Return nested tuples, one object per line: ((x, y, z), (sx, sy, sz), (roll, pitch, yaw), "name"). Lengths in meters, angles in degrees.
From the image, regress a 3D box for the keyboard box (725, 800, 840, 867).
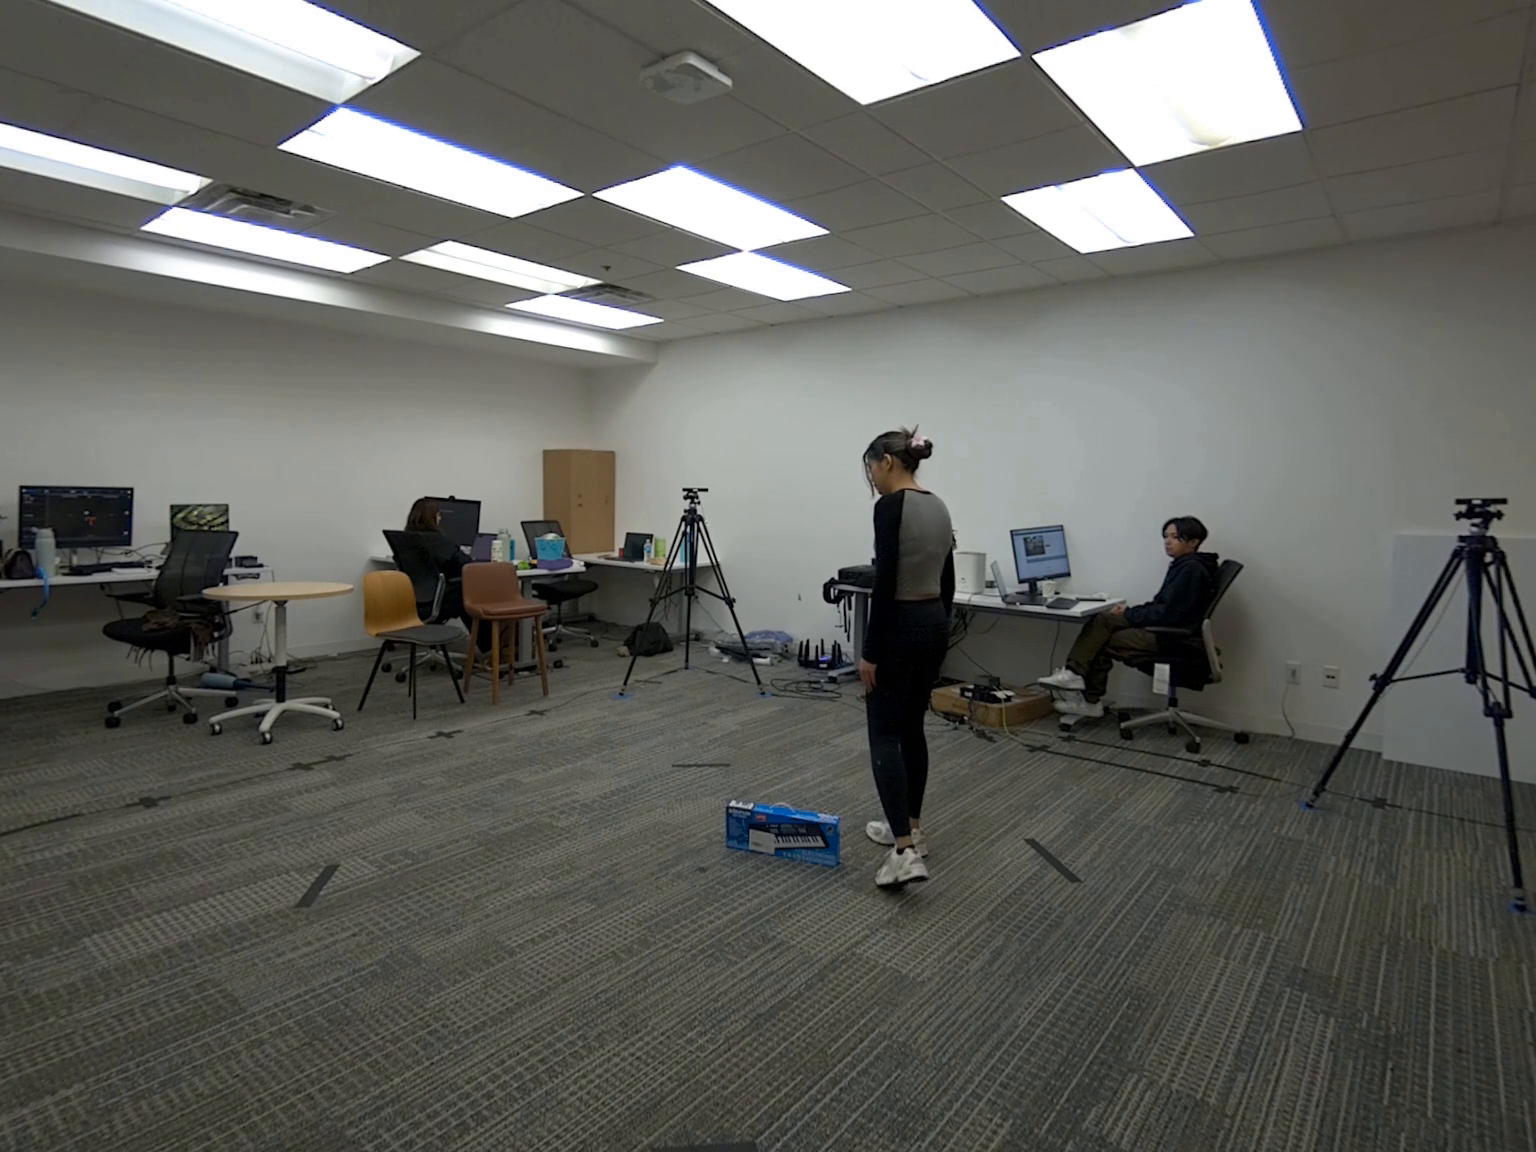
((0.045, 0.974, 3.240), (0.446, 0.174, 0.058), (4, 9, 20), "keyboard box")
